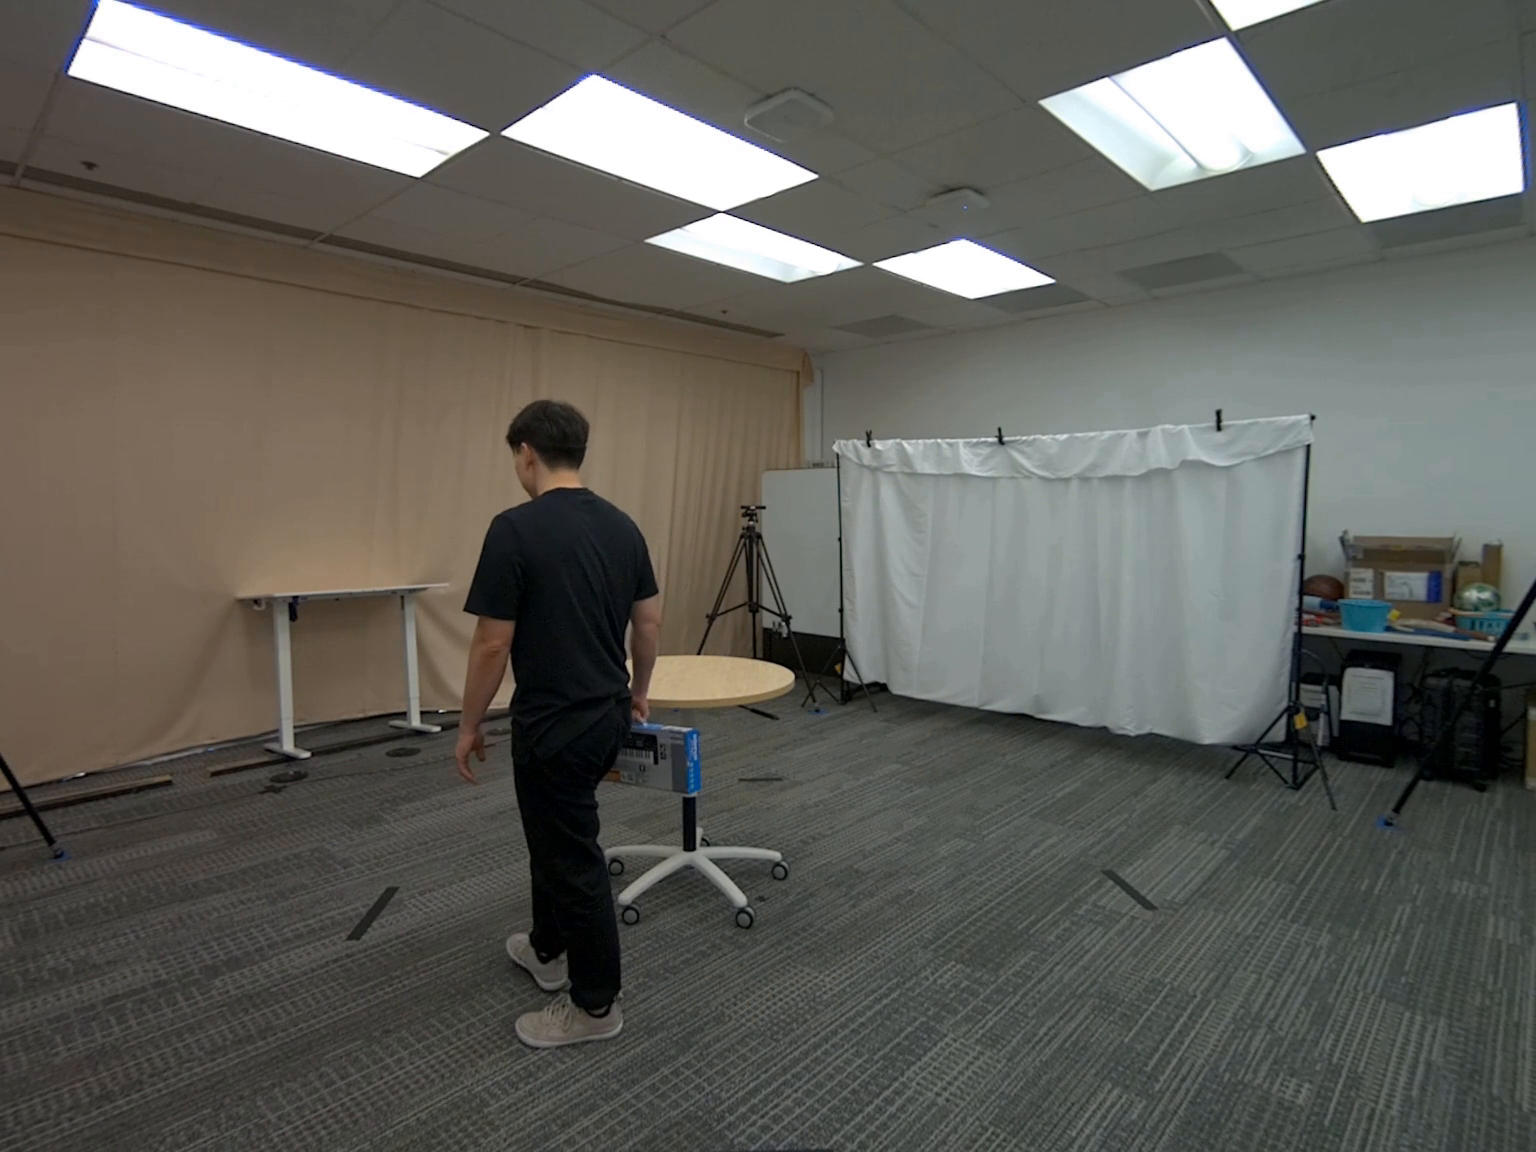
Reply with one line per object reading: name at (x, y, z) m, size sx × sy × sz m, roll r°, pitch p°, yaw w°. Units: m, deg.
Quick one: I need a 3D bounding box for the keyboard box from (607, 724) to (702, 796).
keyboard box at (-0.394, 0.519, 2.465) m, size 0.450 × 0.176 × 0.057 m, roll -1°, pitch 0°, yaw 35°
